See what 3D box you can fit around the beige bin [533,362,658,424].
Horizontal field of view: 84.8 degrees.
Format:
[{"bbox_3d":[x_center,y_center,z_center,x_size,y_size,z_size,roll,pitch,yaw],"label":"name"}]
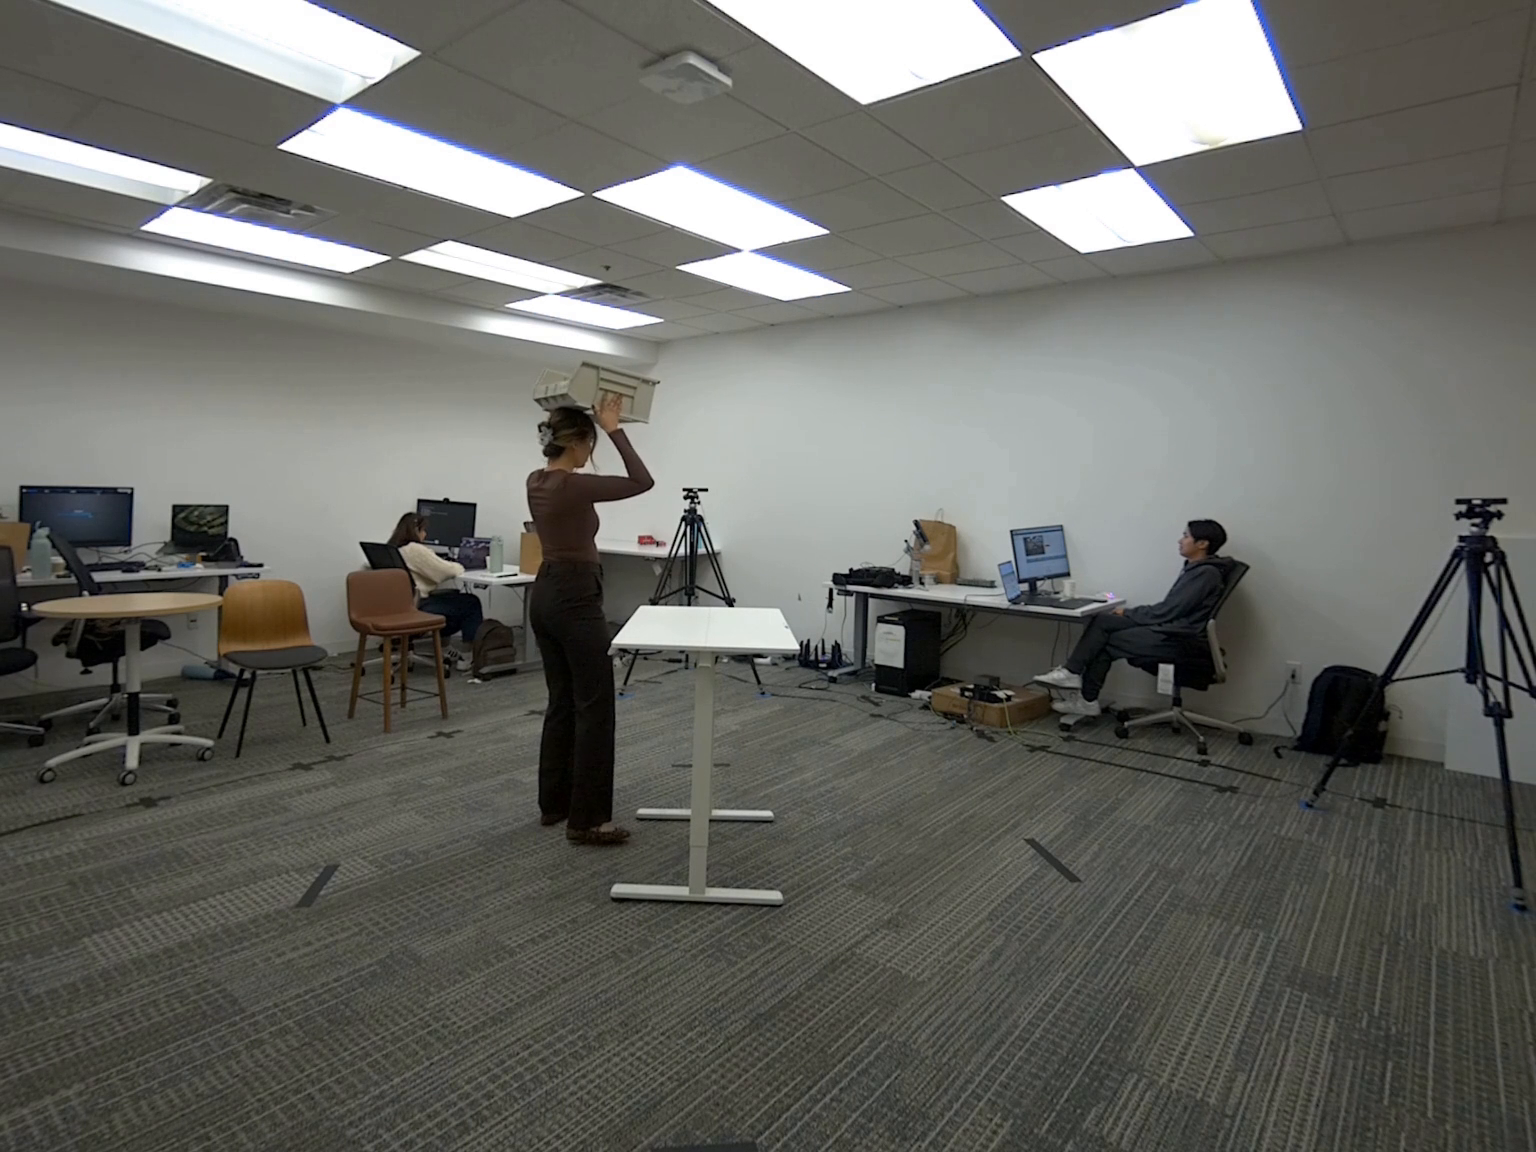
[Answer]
[{"bbox_3d":[-0.731,-0.751,3.501,0.365,0.189,0.436,10,0,-33],"label":"beige bin"}]
